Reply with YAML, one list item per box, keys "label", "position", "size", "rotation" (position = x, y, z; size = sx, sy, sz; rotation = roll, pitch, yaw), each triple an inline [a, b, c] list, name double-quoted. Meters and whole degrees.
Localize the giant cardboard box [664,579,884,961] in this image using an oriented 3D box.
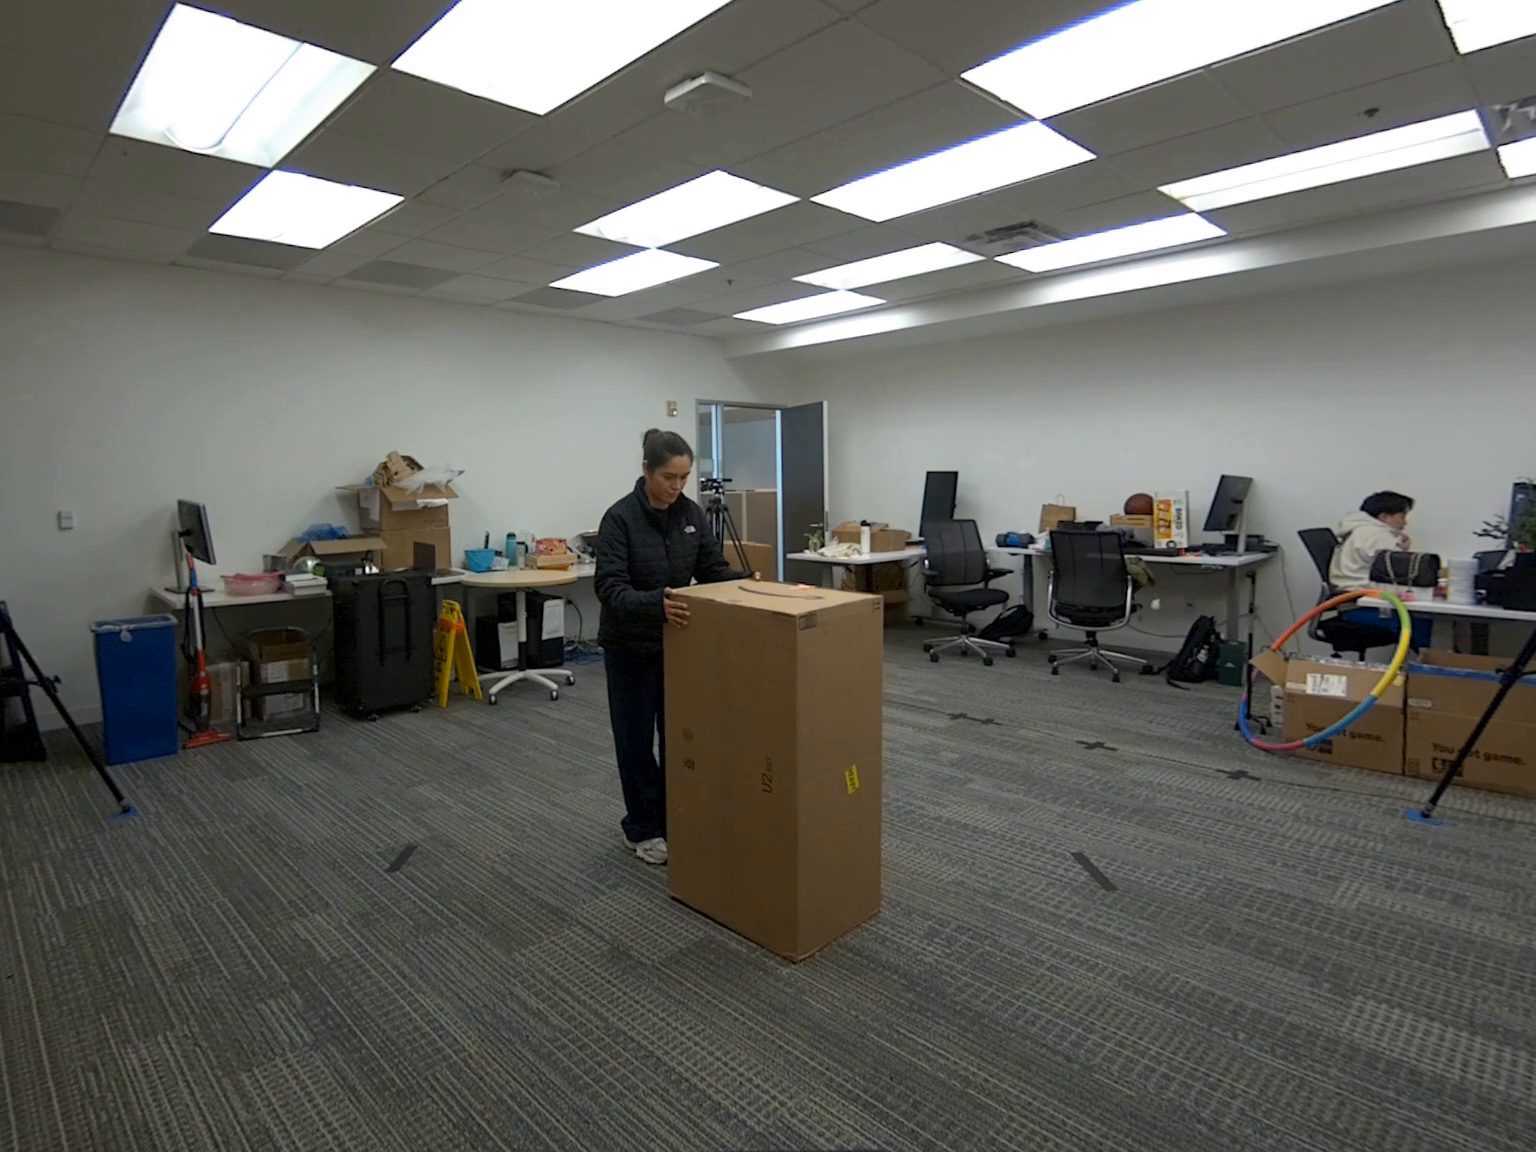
- label: "giant cardboard box"
  position: [0.016, 0.571, 2.771]
  size: [0.596, 1.021, 0.415]
  rotation: [6, 8, 44]
